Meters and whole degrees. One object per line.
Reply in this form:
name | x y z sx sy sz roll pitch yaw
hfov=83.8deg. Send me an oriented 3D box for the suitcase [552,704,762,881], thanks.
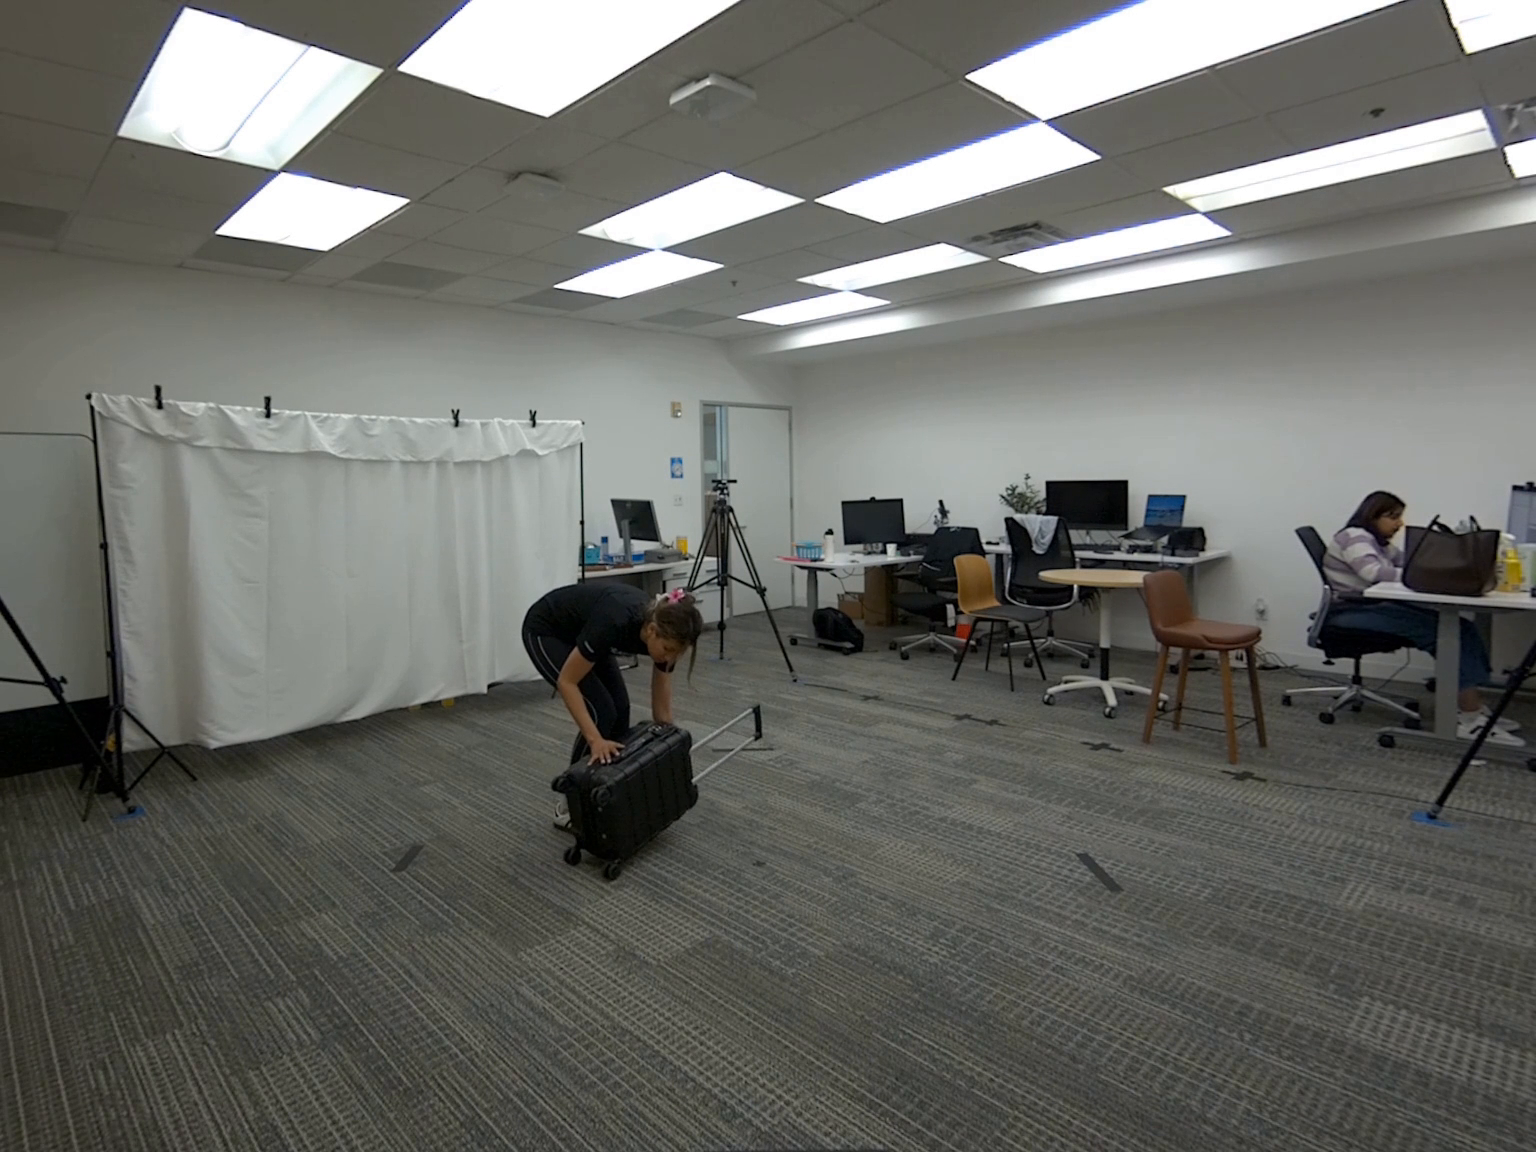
suitcase | -0.399 0.748 3.387 0.264 0.378 0.965 2 18 34
